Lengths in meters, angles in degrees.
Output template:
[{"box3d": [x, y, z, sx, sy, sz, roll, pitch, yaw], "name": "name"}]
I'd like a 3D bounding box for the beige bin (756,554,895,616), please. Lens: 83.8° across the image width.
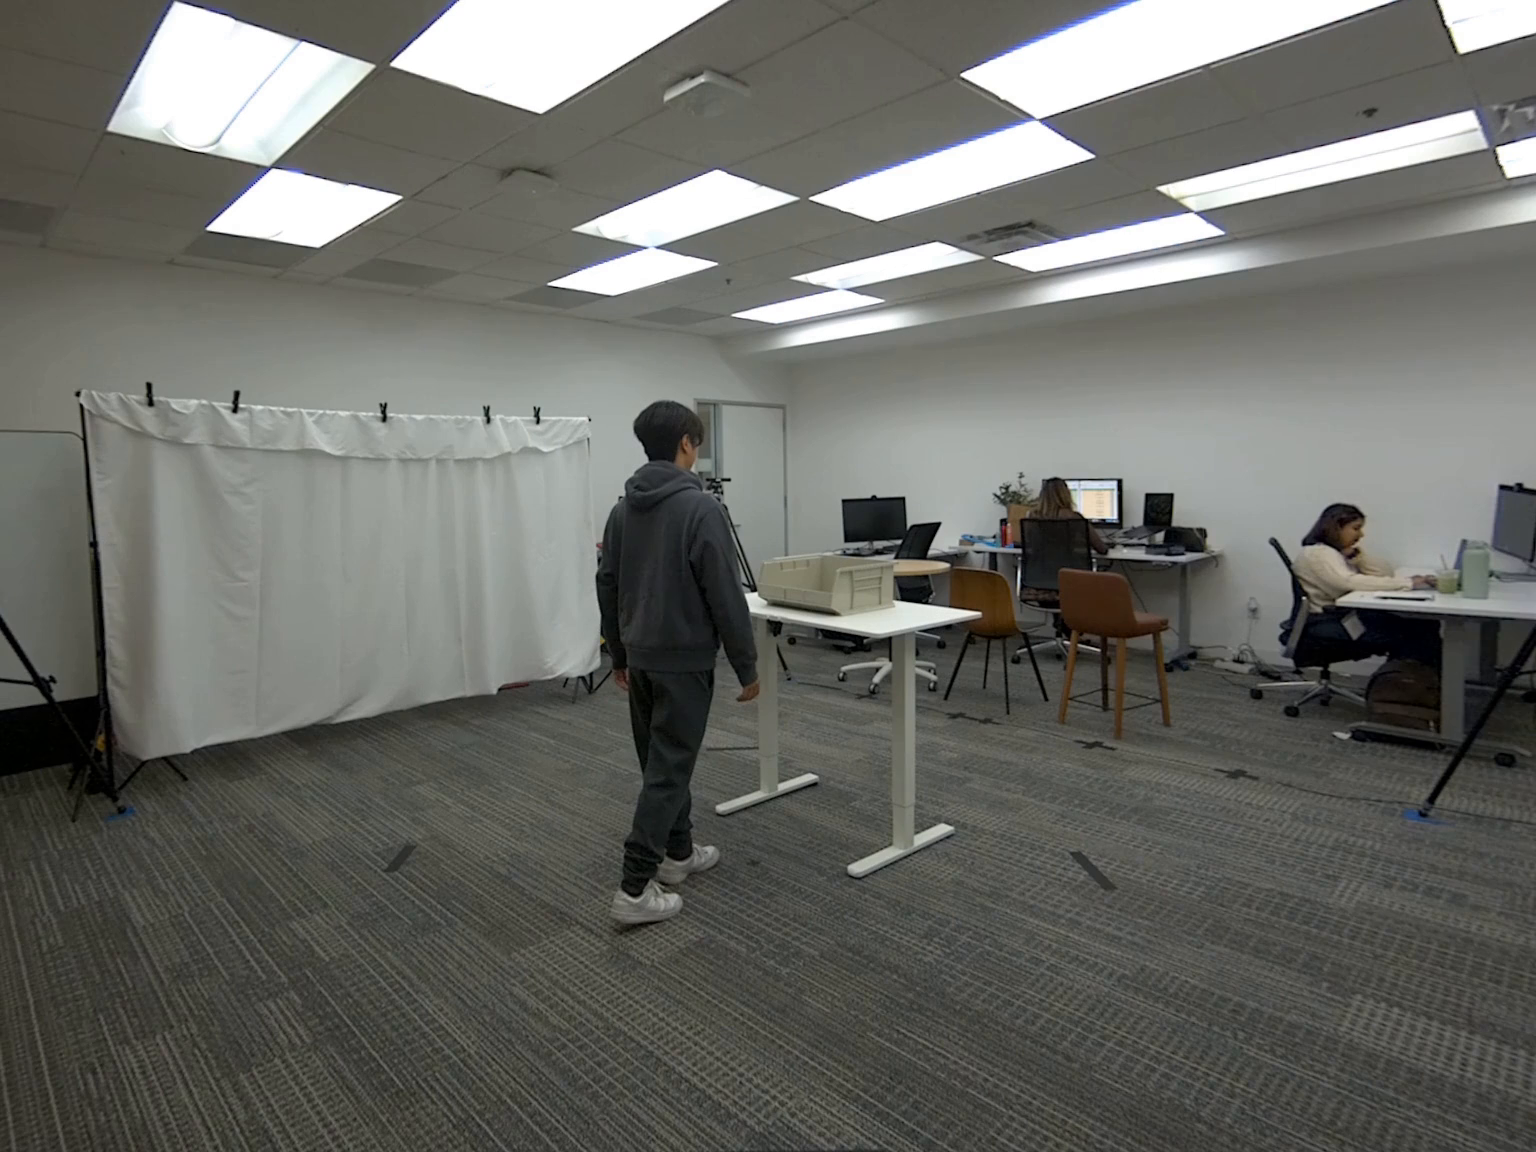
[{"box3d": [0.233, 0.032, 3.394, 0.367, 0.188, 0.435, -6, 8, -41], "name": "beige bin"}]
